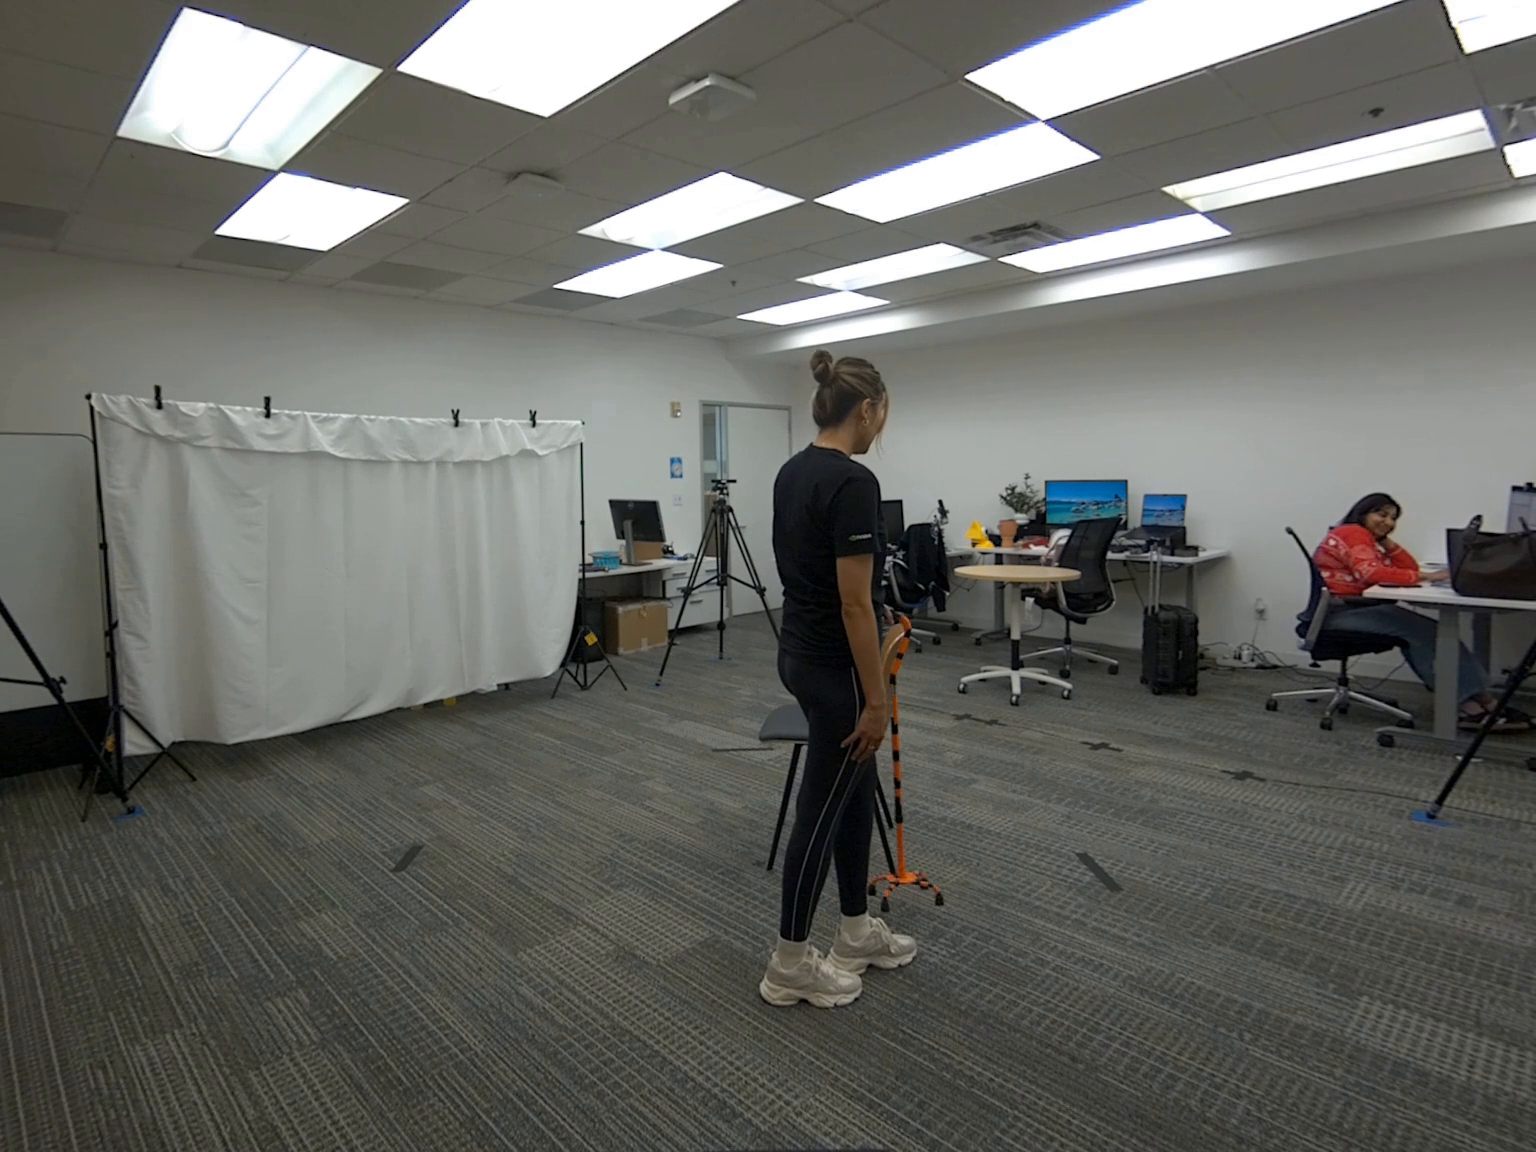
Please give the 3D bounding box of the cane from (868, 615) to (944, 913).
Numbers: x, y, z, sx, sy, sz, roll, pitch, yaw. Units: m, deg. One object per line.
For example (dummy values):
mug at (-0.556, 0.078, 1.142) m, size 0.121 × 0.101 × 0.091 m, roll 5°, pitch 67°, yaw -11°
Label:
cane at (0.411, 0.571, 2.688) m, size 0.205 × 0.909 × 0.153 m, roll -3°, pitch -1°, yaw -9°
